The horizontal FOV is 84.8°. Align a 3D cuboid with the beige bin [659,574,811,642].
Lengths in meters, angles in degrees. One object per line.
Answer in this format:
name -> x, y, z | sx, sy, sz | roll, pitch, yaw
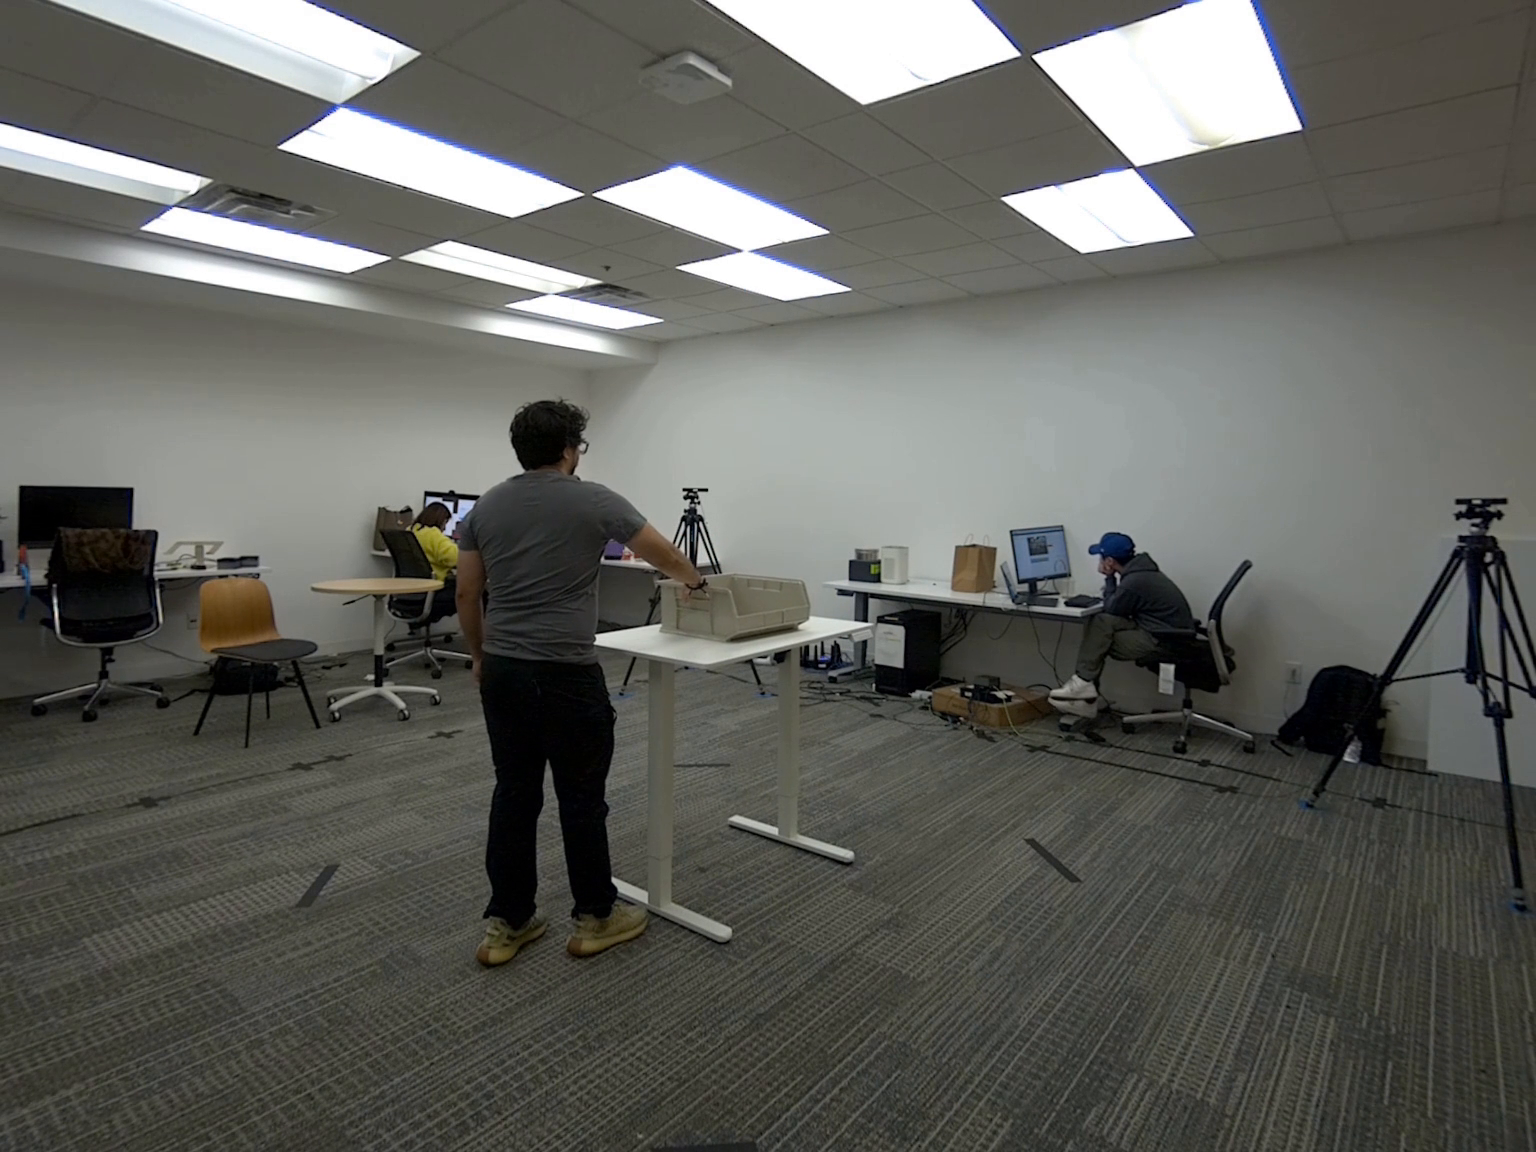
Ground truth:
beige bin -> -0.128, 0.104, 3.047 | 0.390, 0.188, 0.410 | 3, 6, 40
